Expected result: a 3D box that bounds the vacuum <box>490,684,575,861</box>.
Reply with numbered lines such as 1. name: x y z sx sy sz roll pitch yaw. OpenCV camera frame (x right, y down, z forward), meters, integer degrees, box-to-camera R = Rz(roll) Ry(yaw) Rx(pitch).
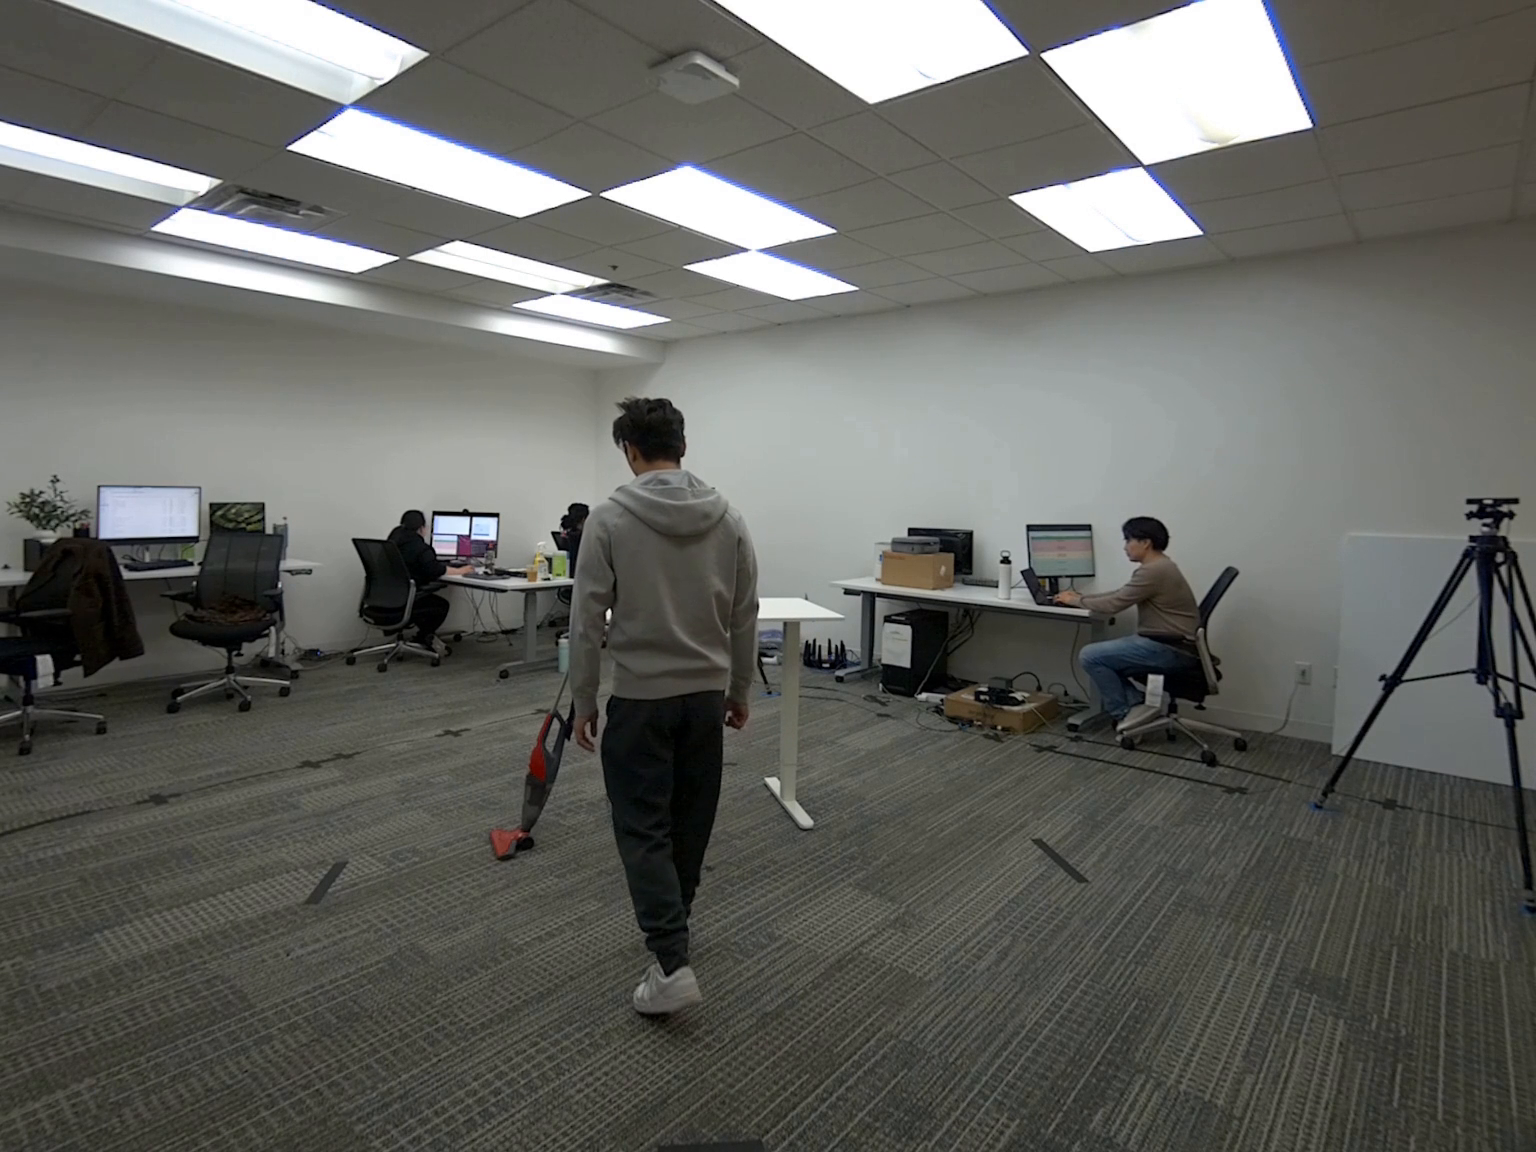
1. vacuum: -0.825 0.548 3.333 0.139 1.053 0.260 23 -7 -30
